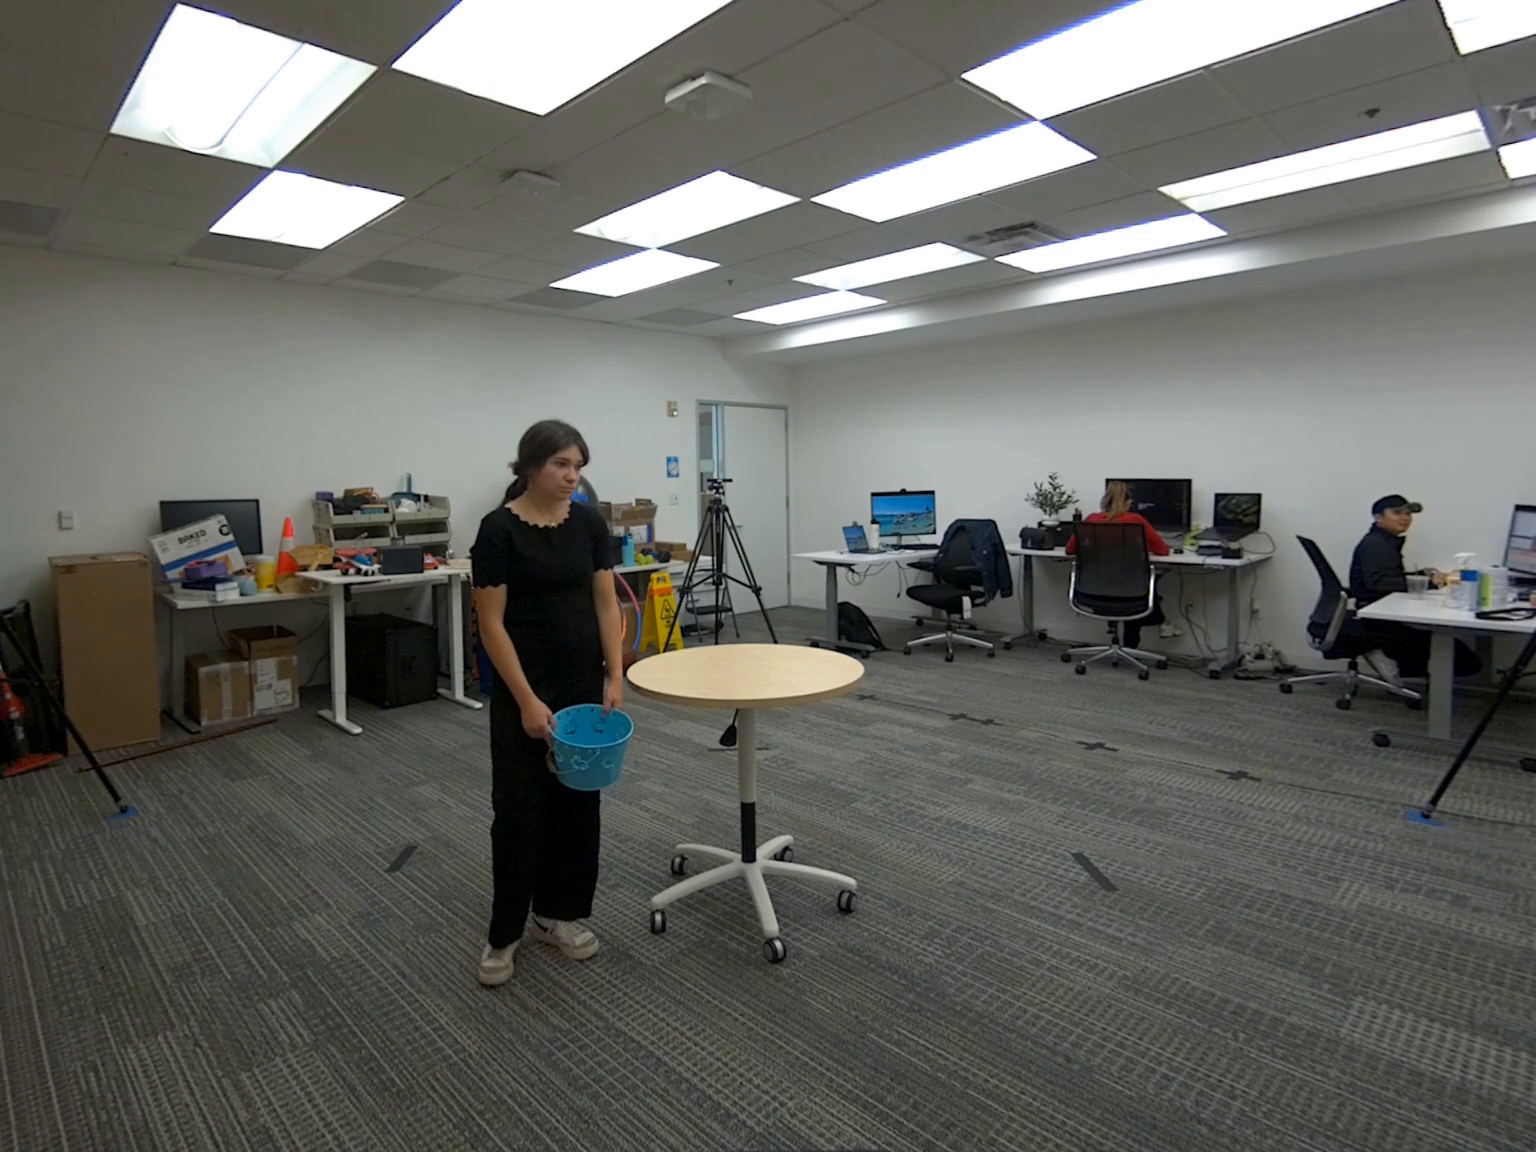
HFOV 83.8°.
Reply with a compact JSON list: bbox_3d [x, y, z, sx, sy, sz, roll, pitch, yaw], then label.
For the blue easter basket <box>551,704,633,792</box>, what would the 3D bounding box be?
[{"bbox_3d":[-0.520,0.485,2.401,0.243,0.154,0.247,6,18,-3],"label":"blue easter basket"}]
